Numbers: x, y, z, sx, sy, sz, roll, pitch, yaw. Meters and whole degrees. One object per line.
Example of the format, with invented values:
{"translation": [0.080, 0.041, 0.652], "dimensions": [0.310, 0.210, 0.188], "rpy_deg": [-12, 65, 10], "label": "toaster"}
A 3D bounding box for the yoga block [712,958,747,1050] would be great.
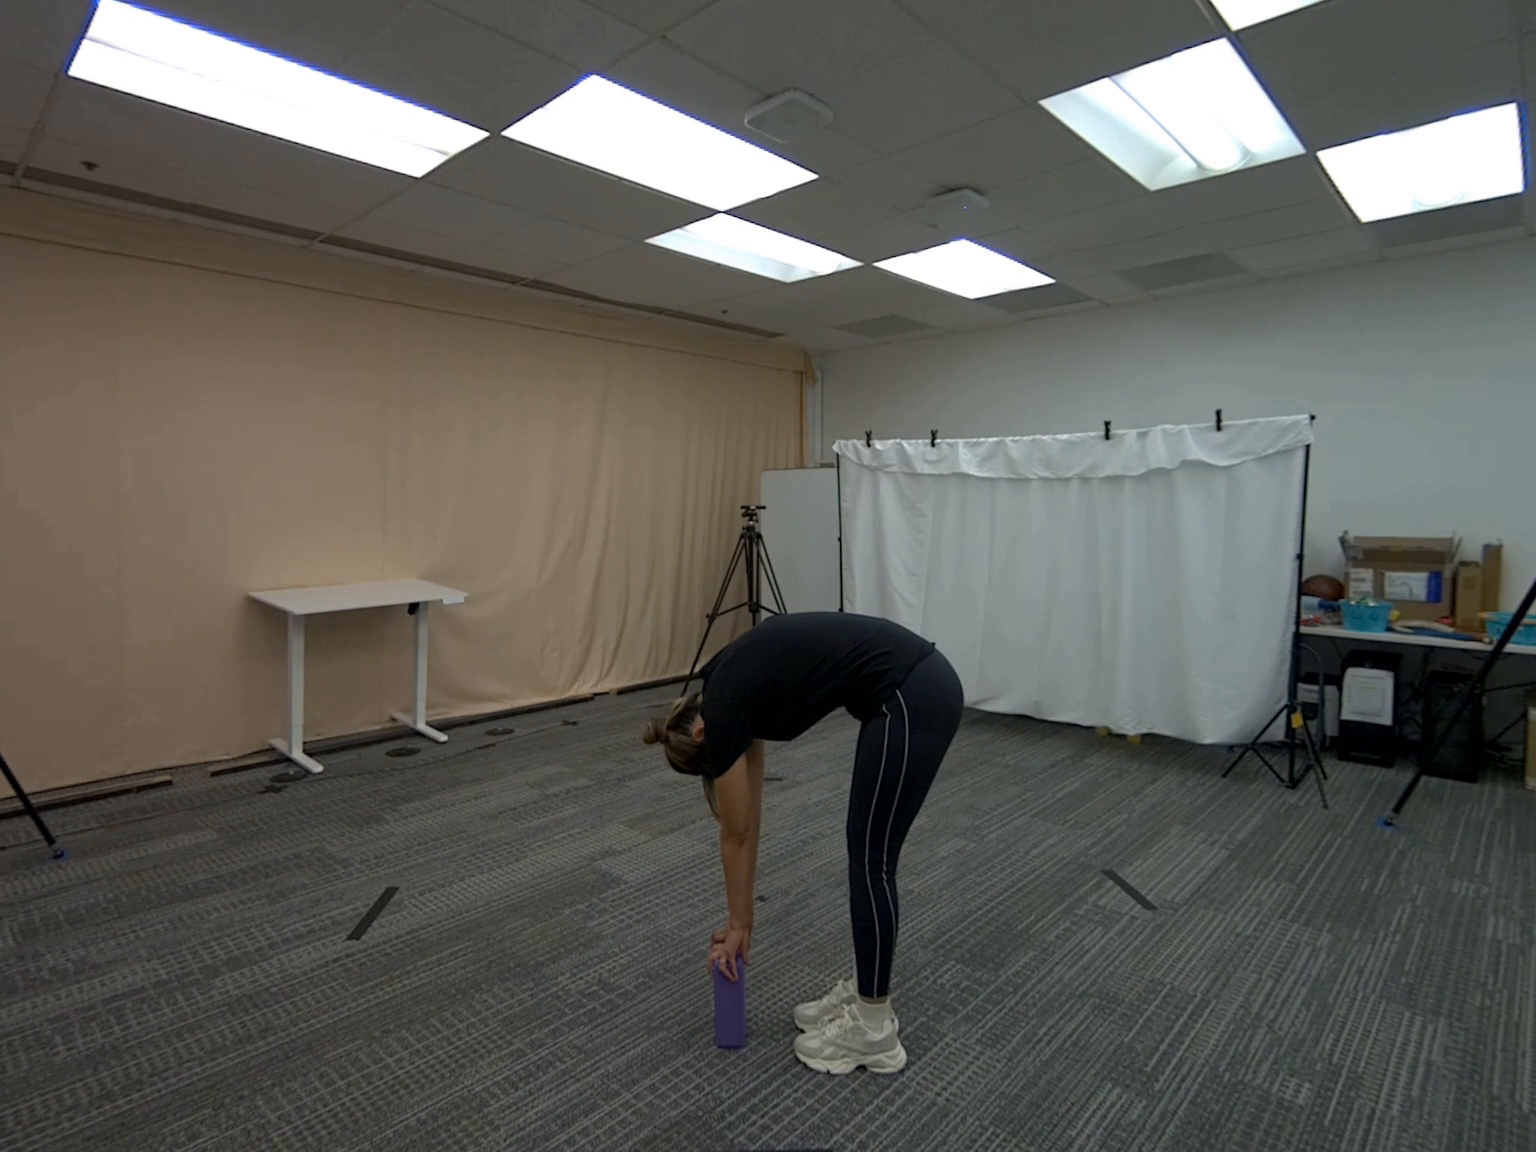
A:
{"translation": [-0.099, 1.102, 2.223], "dimensions": [0.076, 0.229, 0.149], "rpy_deg": [1, 1, 1], "label": "yoga block"}
